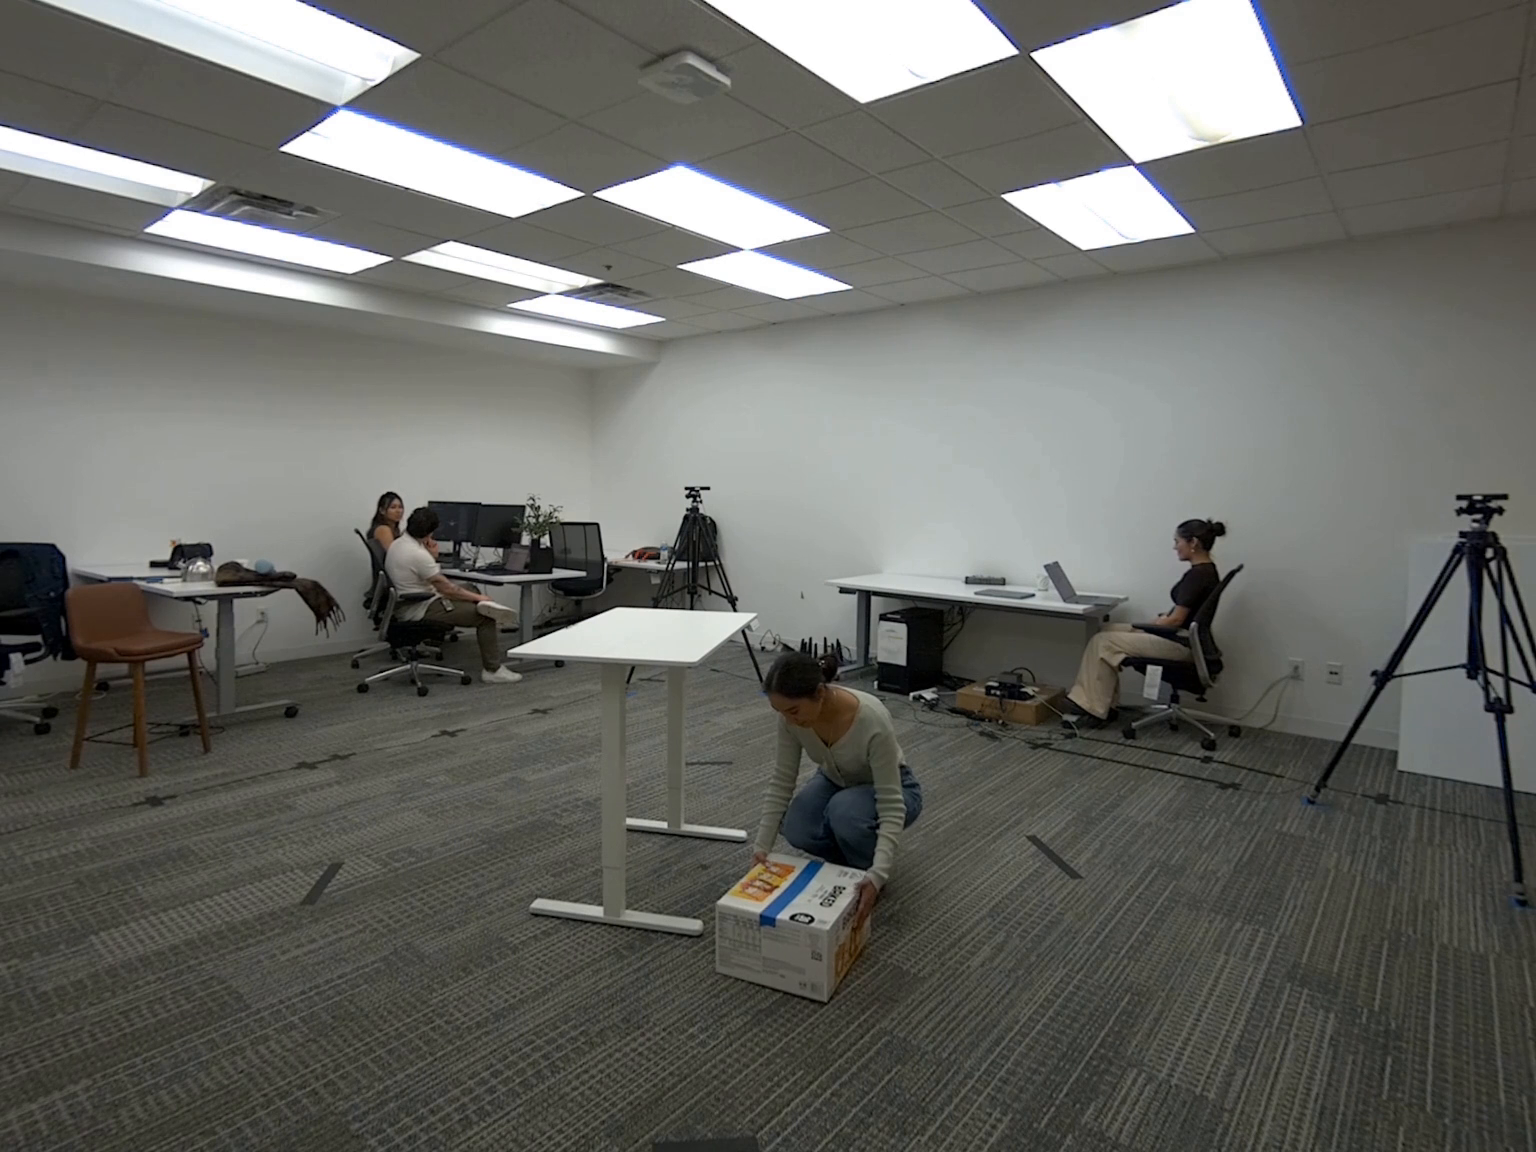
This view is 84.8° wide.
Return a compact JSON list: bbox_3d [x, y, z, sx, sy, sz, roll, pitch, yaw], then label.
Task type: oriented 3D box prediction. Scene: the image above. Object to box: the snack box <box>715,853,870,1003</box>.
[{"bbox_3d":[0.080,1.026,2.528,0.349,0.205,0.396,2,5,25],"label":"snack box"}]
